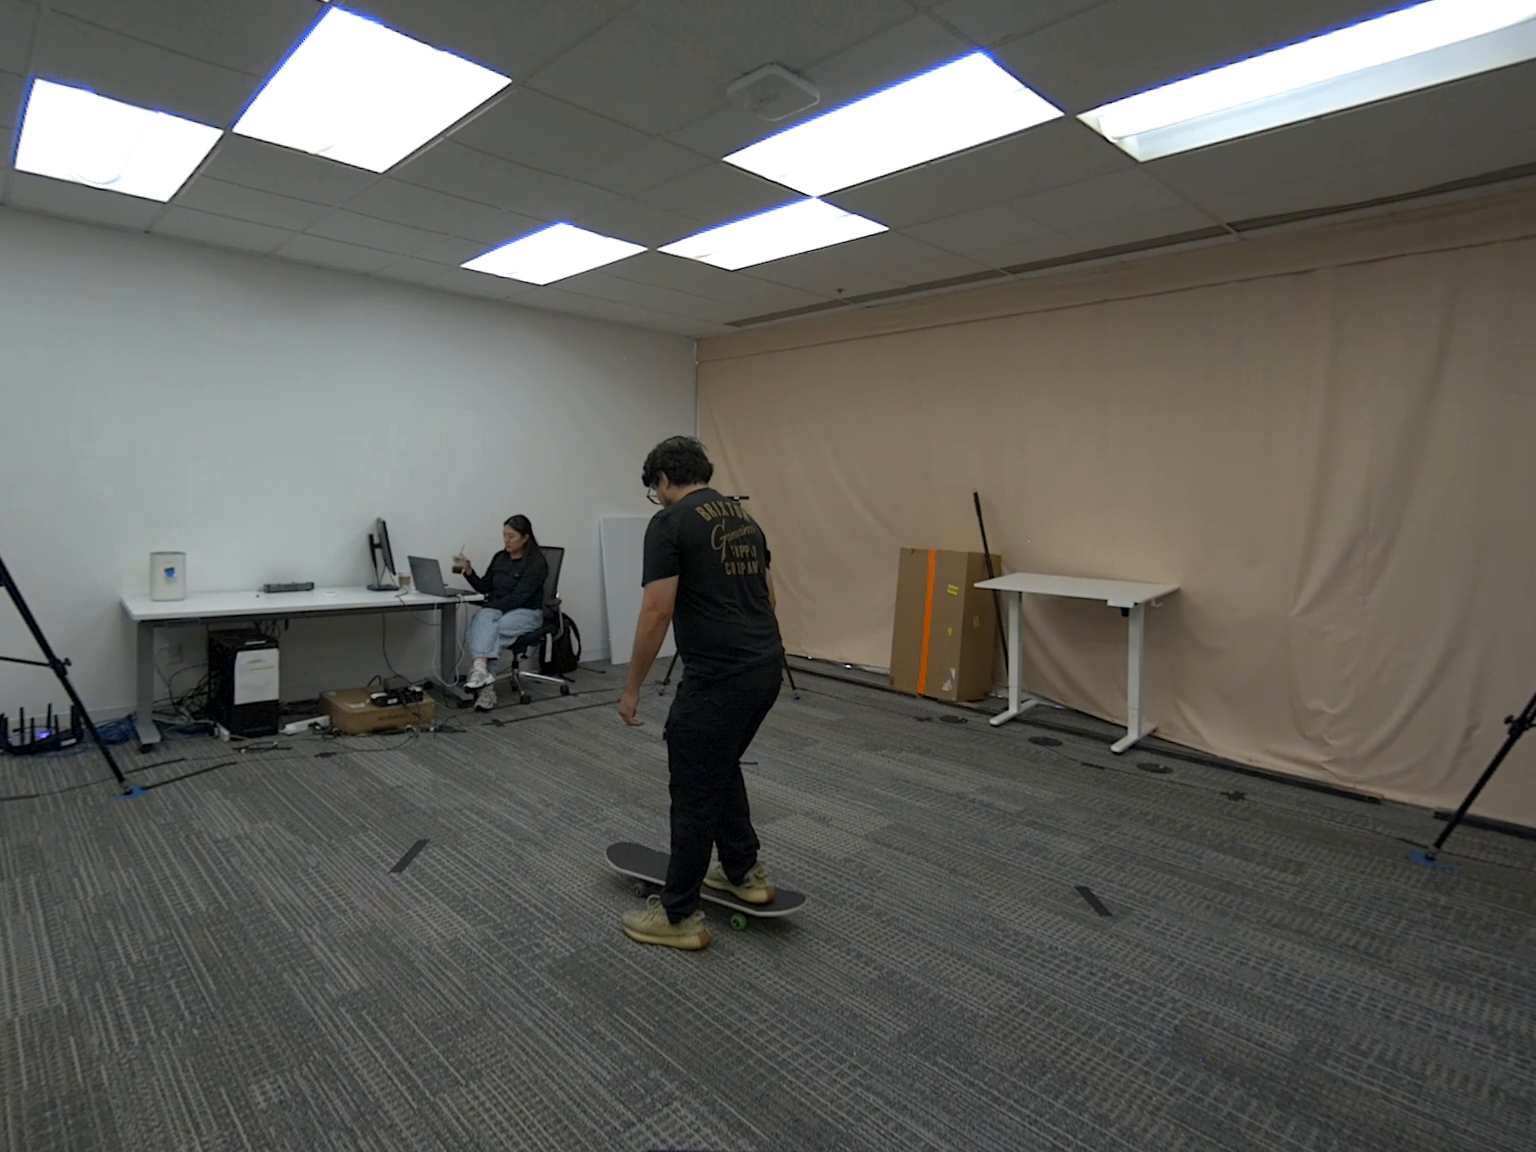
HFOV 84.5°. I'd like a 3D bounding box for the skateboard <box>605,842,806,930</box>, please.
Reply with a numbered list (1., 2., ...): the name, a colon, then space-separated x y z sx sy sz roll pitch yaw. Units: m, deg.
1. skateboard: -0.243 1.070 2.880 0.803 0.110 0.190 5 6 31
